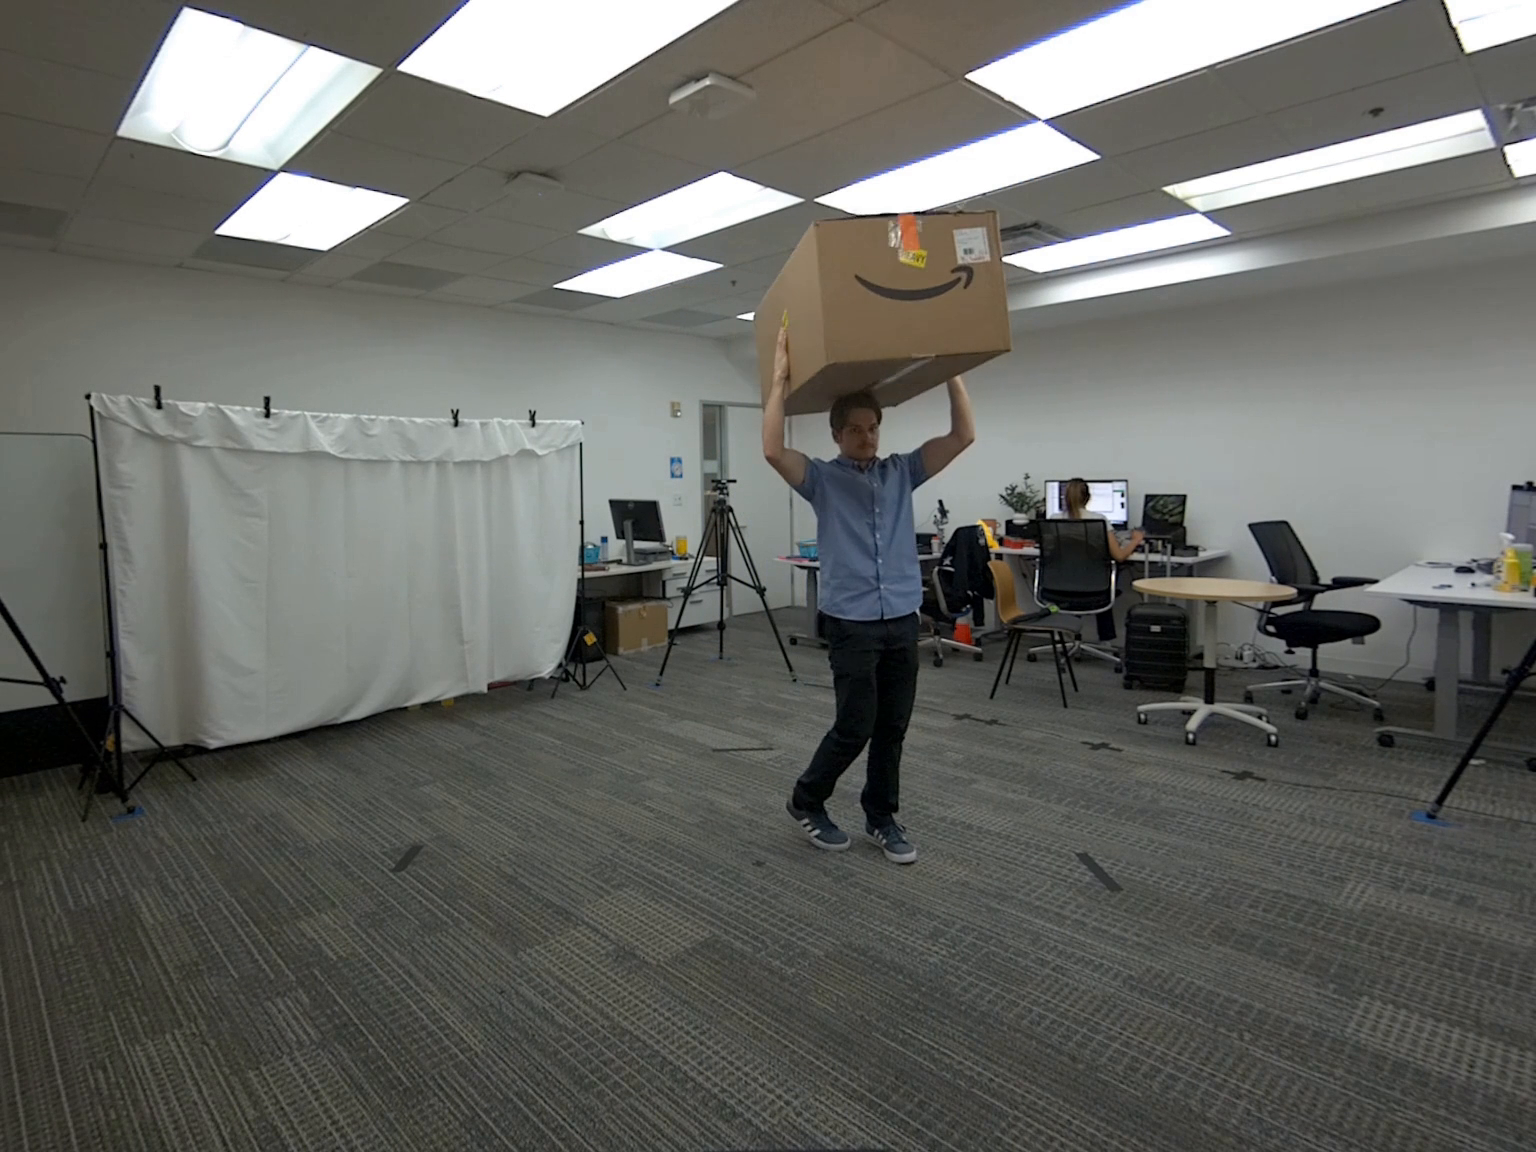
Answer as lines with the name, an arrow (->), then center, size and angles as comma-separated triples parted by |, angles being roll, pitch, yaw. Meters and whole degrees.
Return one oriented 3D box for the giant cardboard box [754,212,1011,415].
giant cardboard box -> 0.328, -0.870, 3.008 | 0.573, 0.426, 1.035 | -7, 3, -10
